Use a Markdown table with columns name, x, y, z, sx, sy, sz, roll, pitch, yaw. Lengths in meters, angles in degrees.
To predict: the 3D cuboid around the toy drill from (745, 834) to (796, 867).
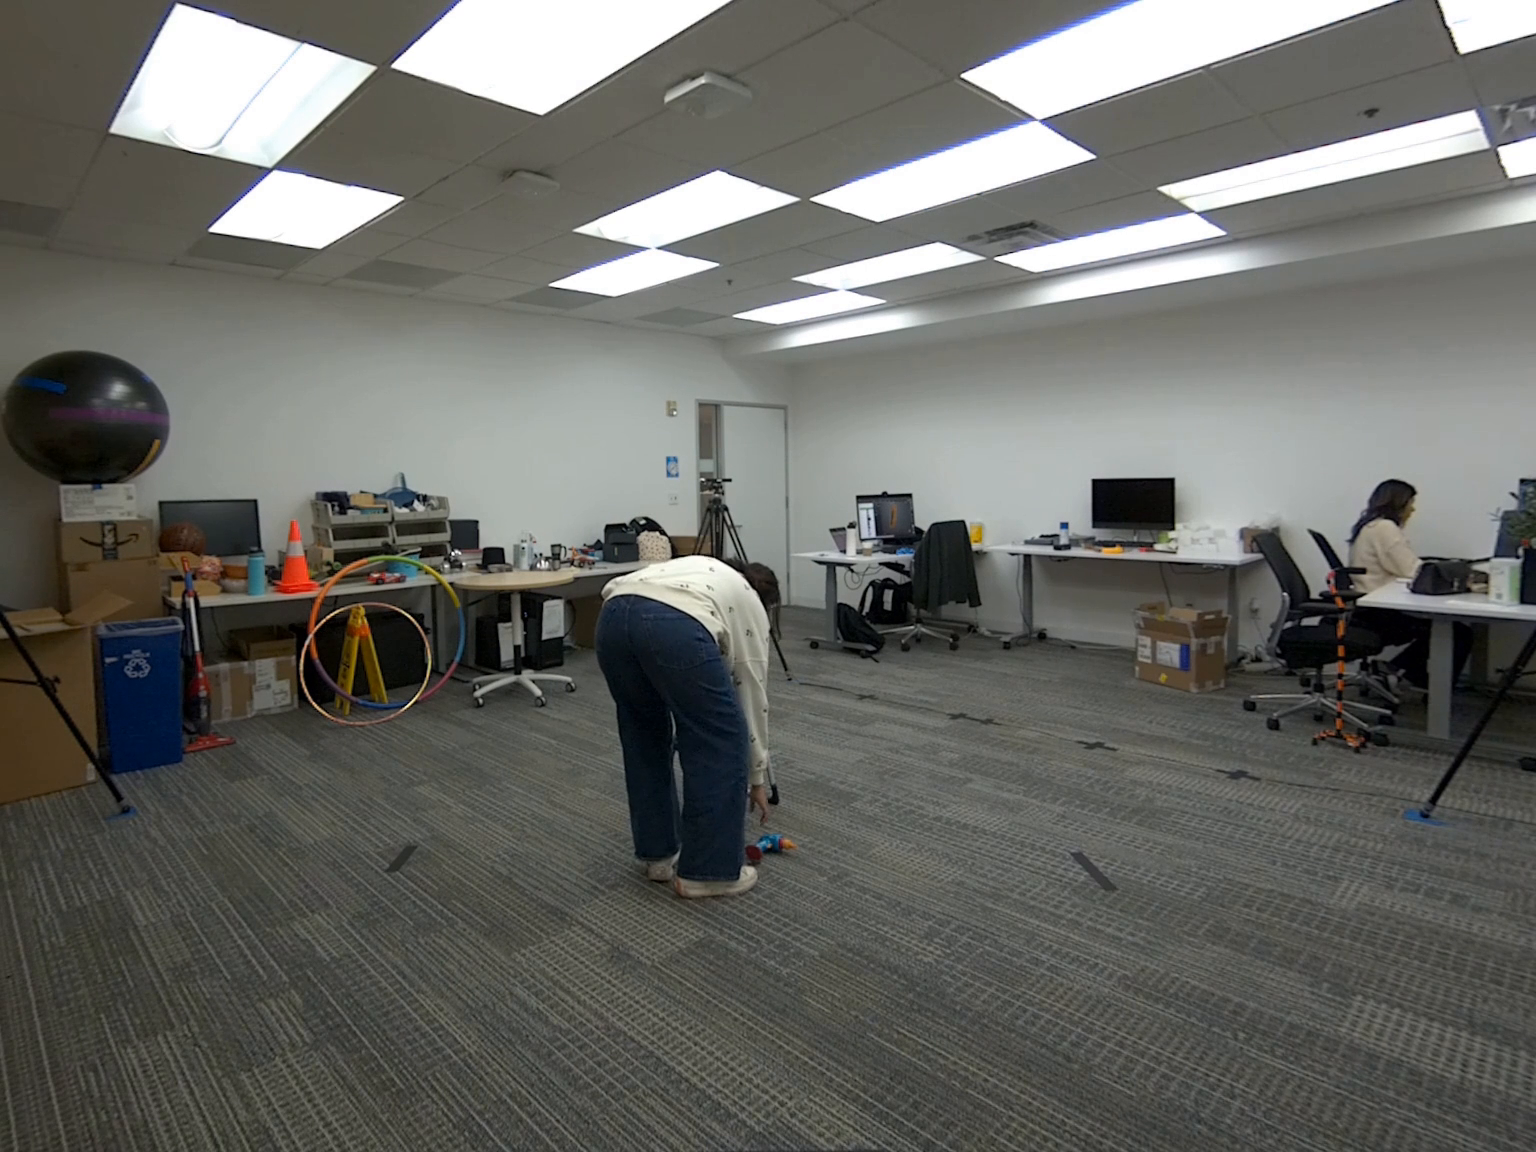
| name | x | y | z | sx | sy | sz | roll | pitch | yaw |
| --- | --- | --- | --- | --- | --- | --- | --- | --- | --- |
| toy drill | 0.018 | 1.012 | 3.173 | 0.174 | 0.061 | 0.142 | -3 | 4 | 37 |
